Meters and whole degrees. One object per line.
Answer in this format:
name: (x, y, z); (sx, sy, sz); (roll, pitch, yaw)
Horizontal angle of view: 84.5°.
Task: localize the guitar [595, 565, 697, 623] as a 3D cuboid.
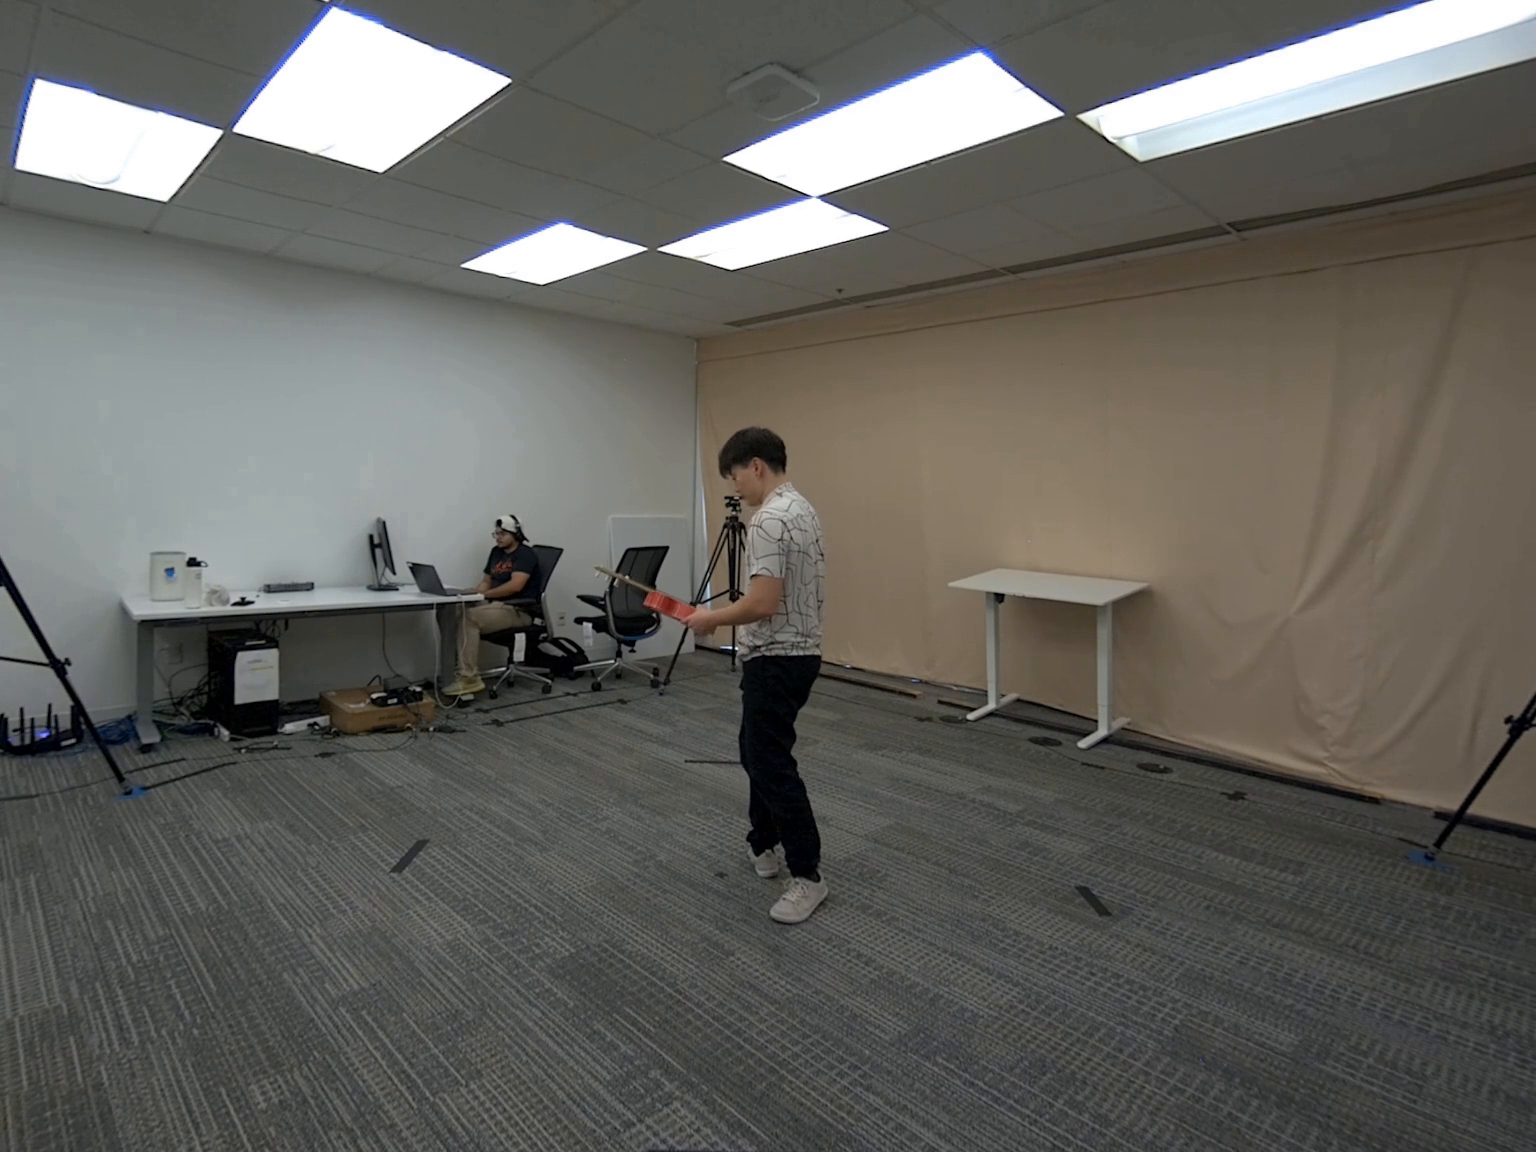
guitar: (-0.408, 0.090, 3.110); (0.506, 0.071, 0.189); (22, -8, 15)
